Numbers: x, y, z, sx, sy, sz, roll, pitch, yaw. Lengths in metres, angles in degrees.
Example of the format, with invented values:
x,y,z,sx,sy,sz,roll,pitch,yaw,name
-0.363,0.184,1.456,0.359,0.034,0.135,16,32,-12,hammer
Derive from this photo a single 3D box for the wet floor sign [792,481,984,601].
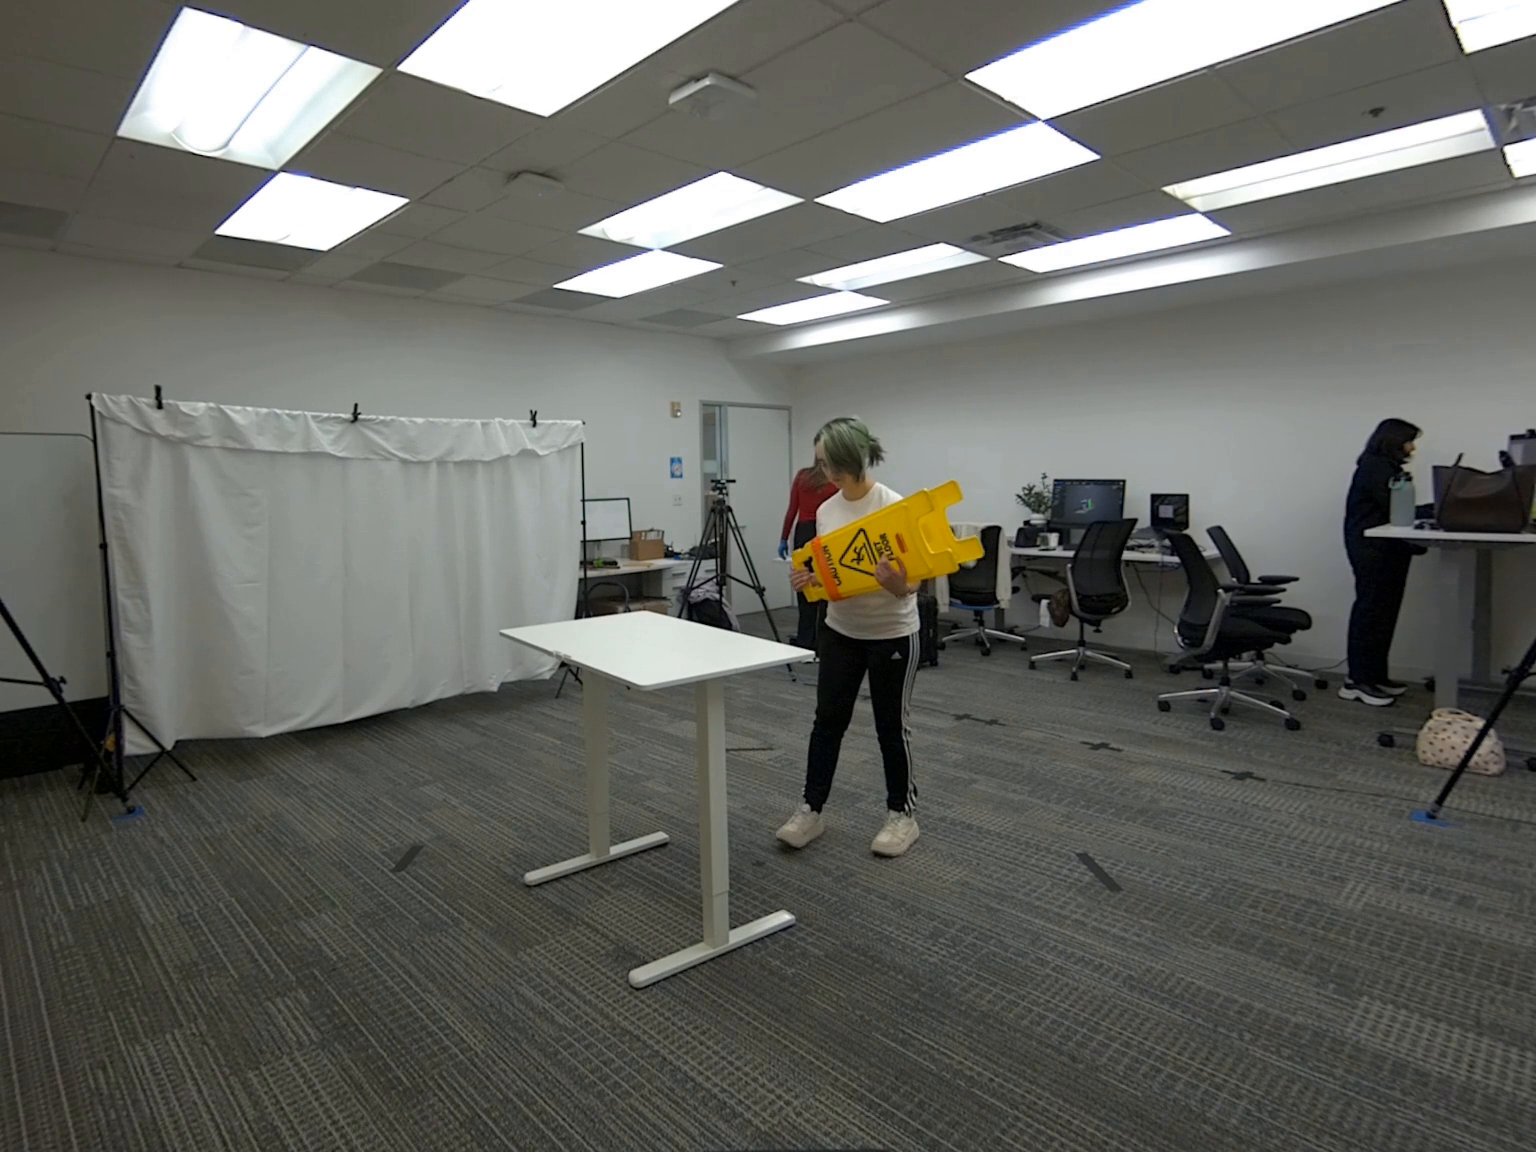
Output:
x,y,z,sx,sy,sz,roll,pitch,yaw,name
0.369,-0.078,2.972,0.656,0.283,0.284,-21,-3,36,wet floor sign
